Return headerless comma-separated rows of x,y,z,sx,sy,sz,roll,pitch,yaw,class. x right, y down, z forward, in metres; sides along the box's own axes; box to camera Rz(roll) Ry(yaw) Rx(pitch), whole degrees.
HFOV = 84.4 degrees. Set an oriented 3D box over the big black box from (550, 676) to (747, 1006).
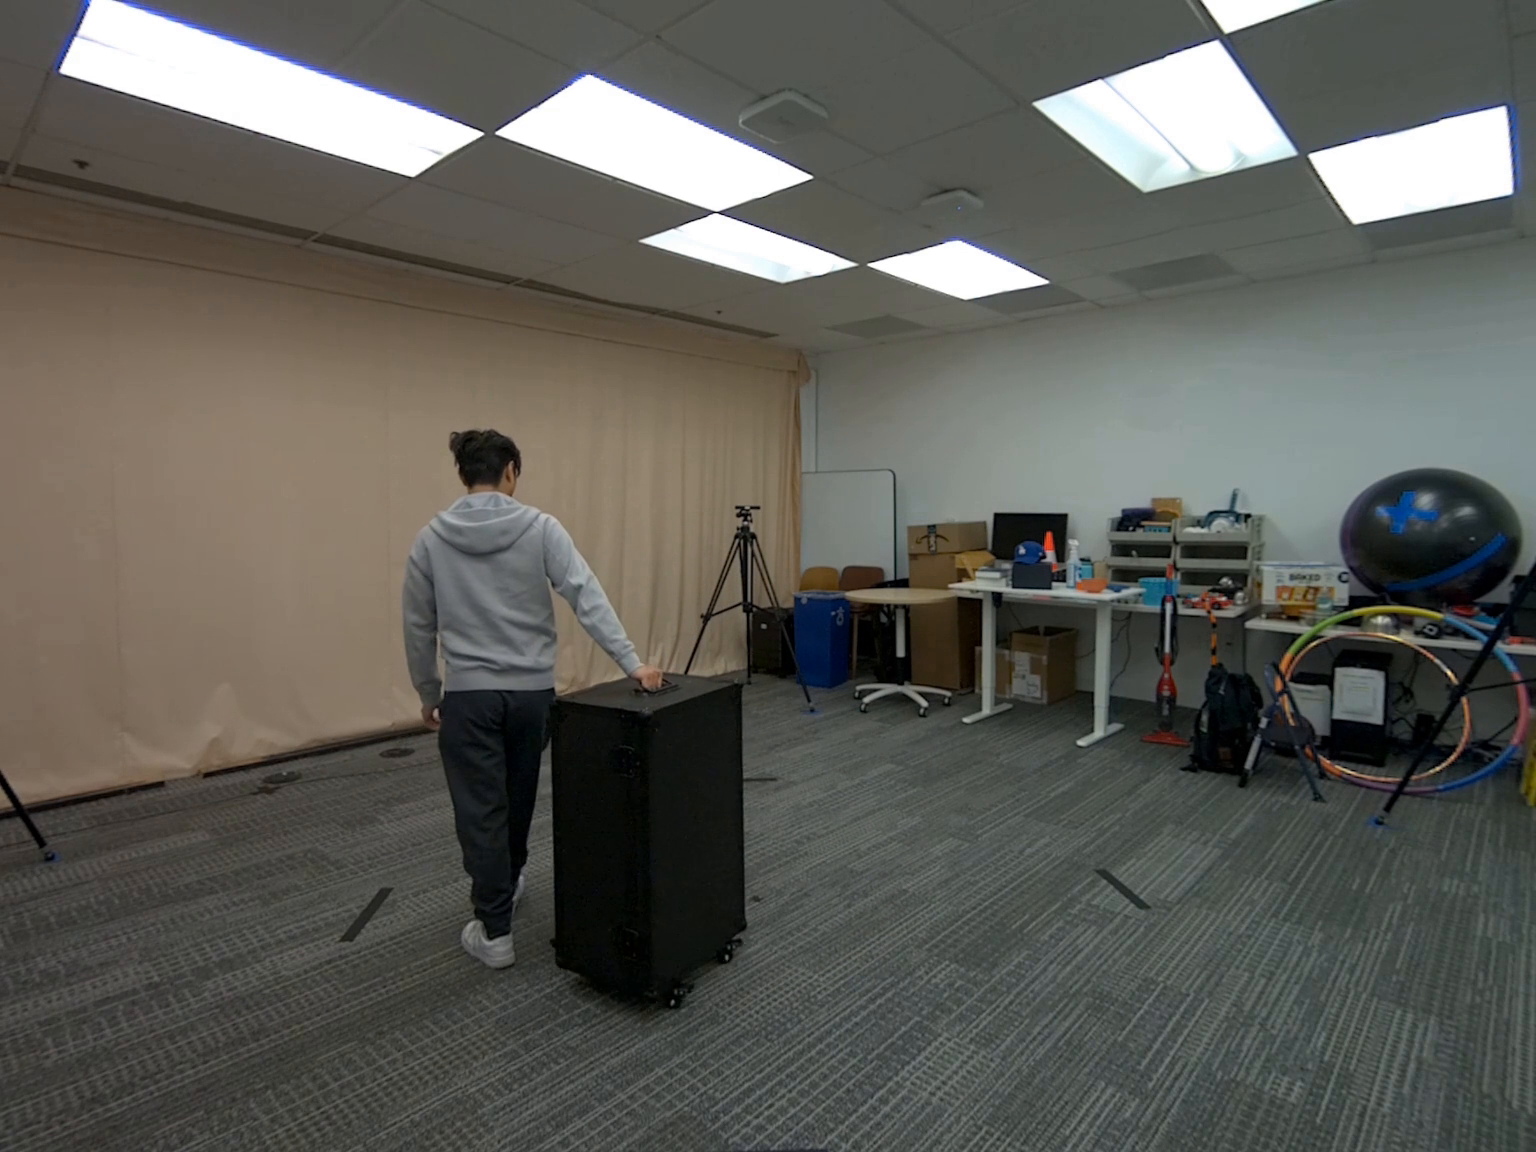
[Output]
-0.352,0.761,2.513,0.408,0.860,0.507,-1,2,32,big black box
